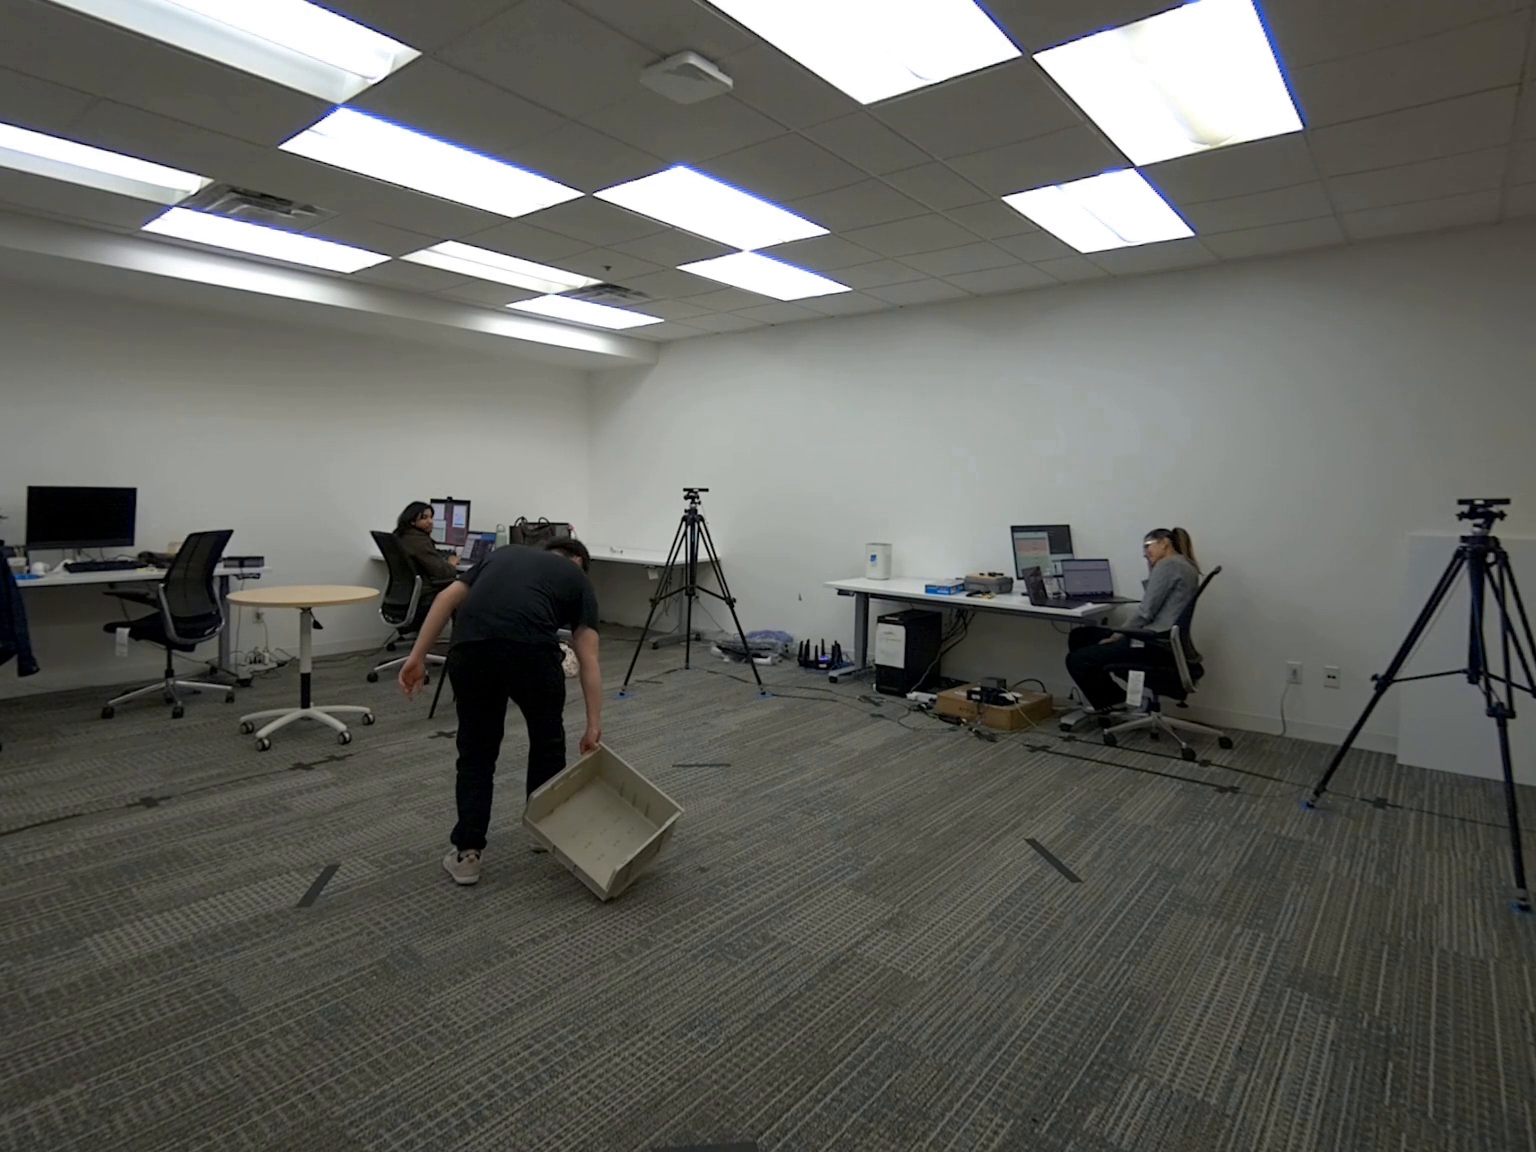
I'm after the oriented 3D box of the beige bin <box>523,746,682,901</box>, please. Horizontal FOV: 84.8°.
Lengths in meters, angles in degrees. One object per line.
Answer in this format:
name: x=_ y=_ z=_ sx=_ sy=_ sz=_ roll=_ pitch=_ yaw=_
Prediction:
beige bin: x=-0.593 y=0.867 z=3.010 sx=0.436 sy=0.185 sz=0.372 roll=31 pitch=38 yaw=24
